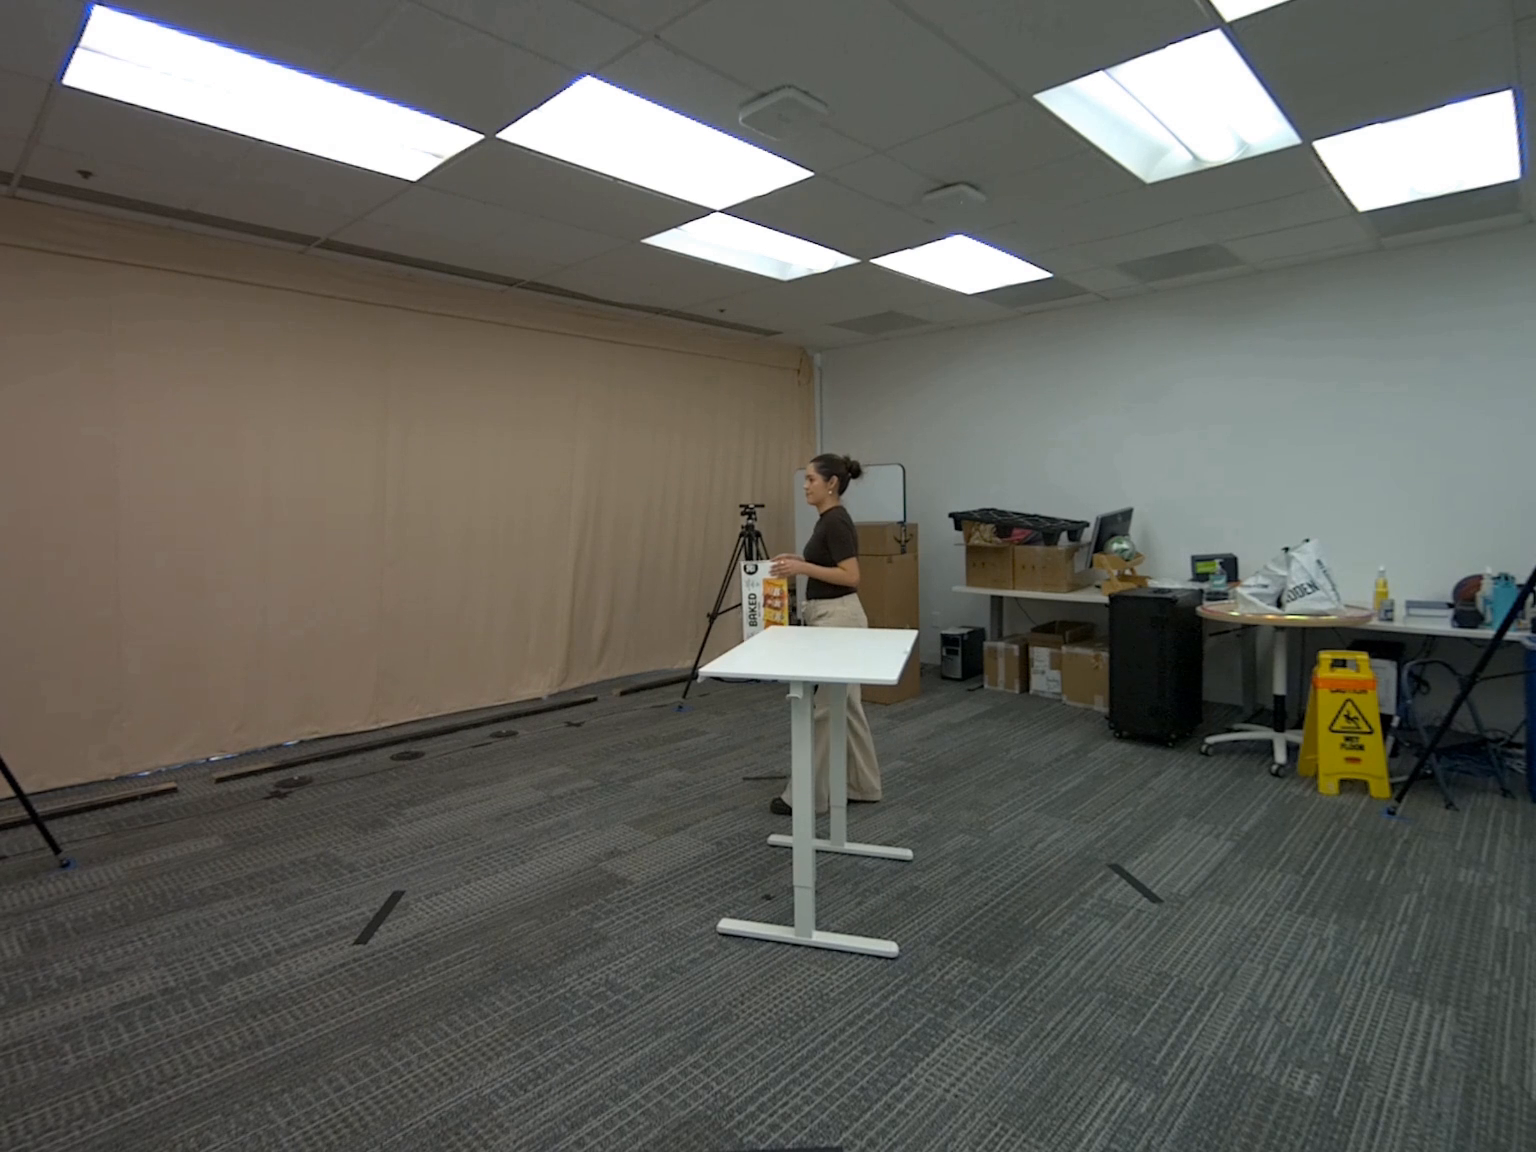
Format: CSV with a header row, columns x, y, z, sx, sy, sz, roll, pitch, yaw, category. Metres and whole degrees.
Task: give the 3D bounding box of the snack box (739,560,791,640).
x,y,z,sx,sy,sz,roll,pitch,yaw,category
-0.014,0.134,3.887,0.206,0.405,0.340,-1,1,-1,snack box
